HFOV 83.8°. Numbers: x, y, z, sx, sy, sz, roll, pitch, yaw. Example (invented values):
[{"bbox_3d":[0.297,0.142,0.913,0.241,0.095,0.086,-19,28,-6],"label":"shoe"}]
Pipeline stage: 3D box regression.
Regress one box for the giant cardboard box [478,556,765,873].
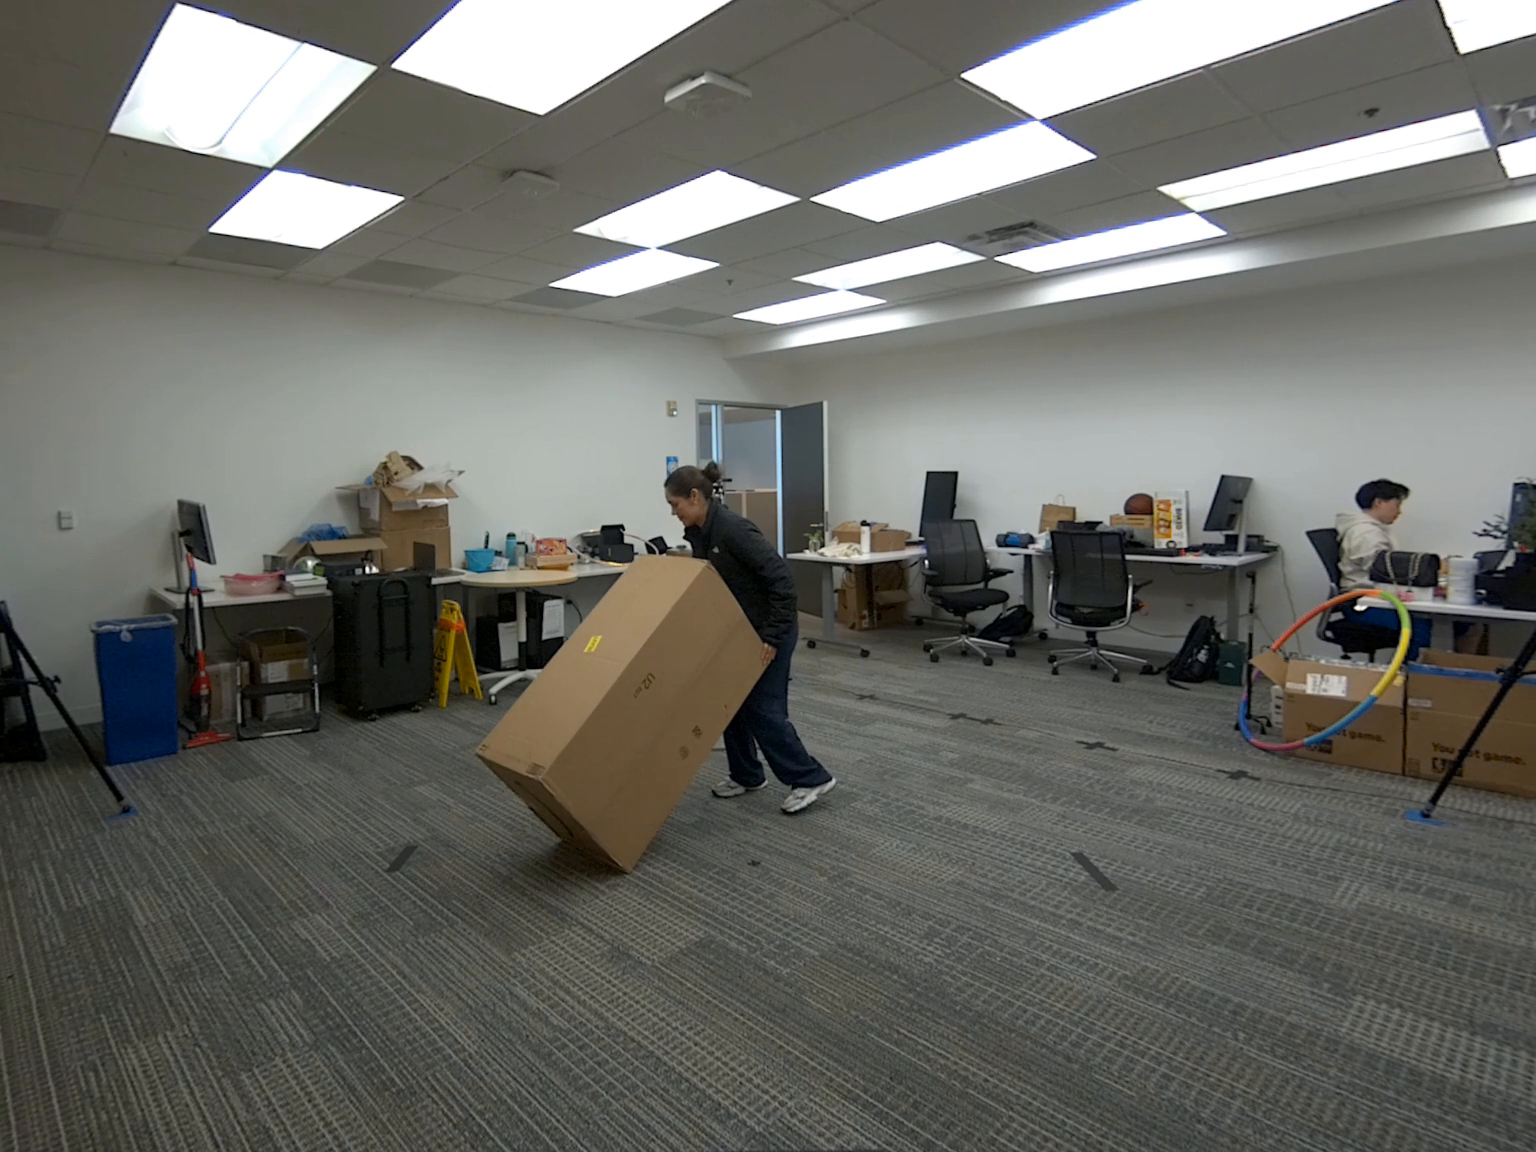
[{"bbox_3d":[-0.516,0.483,3.305,0.460,0.564,1.031,2,46,44],"label":"giant cardboard box"}]
